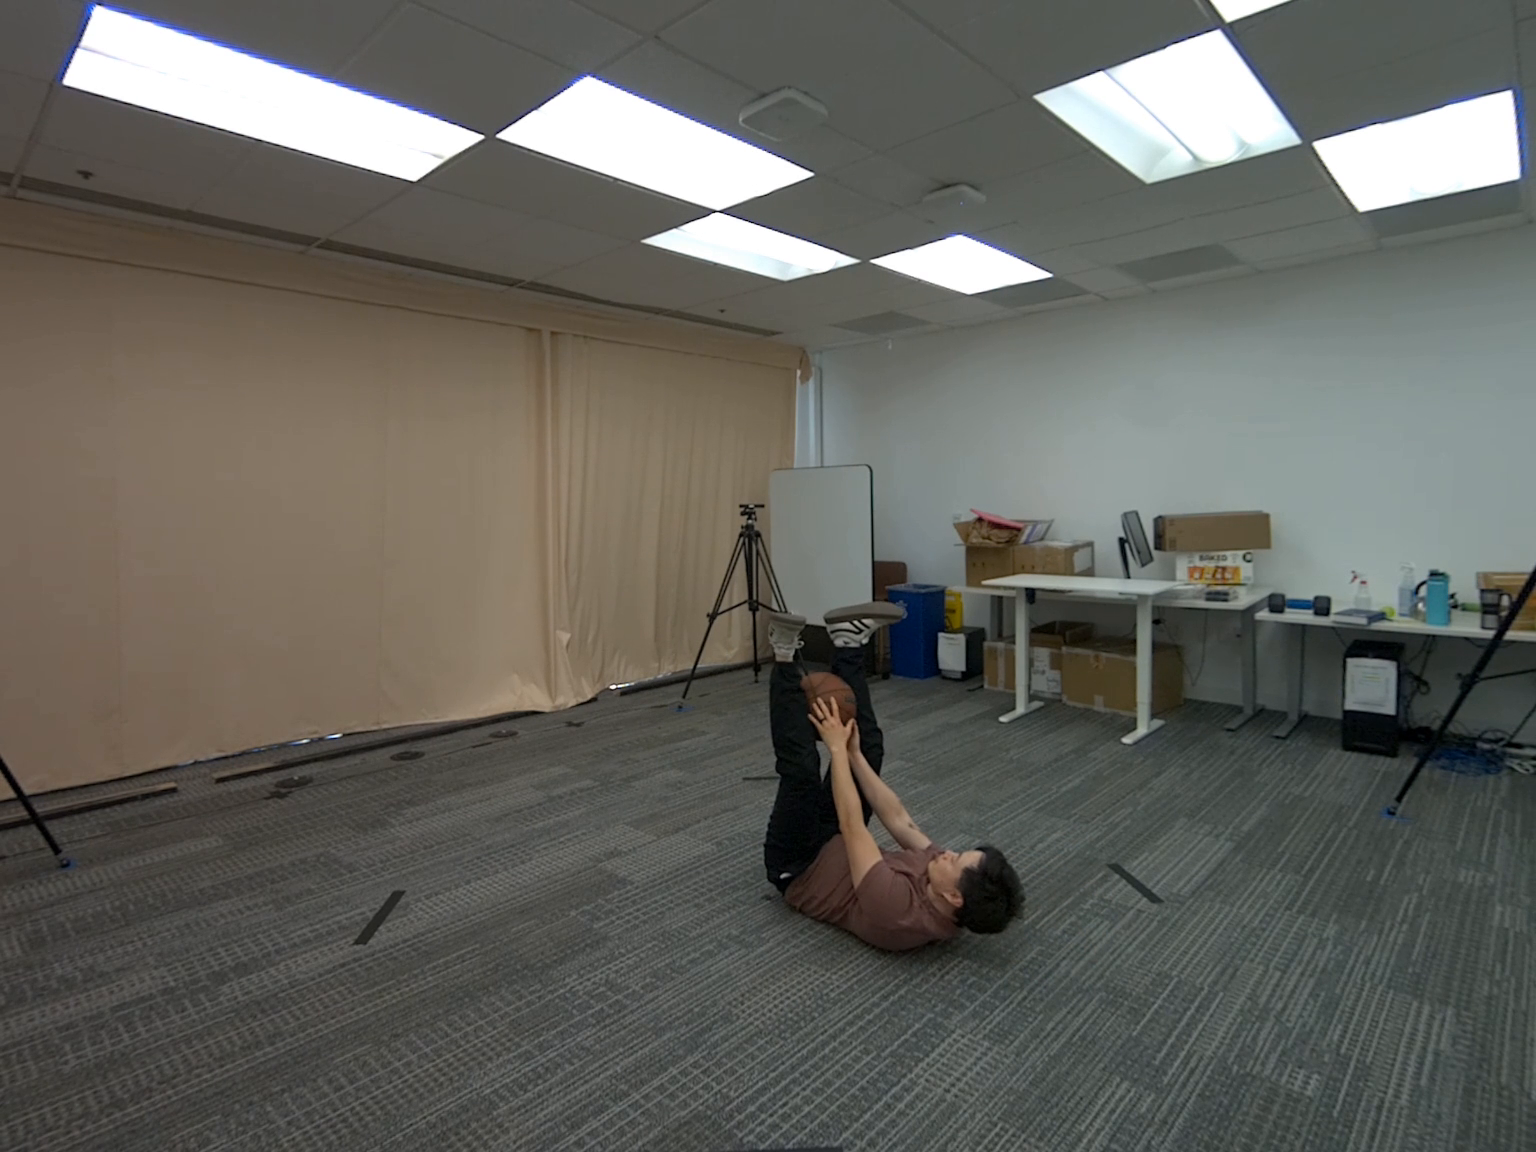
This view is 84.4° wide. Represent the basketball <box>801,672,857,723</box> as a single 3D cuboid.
[{"bbox_3d":[0.191,0.455,2.927,0.236,0.235,0.236,-1,3,-2],"label":"basketball"}]
